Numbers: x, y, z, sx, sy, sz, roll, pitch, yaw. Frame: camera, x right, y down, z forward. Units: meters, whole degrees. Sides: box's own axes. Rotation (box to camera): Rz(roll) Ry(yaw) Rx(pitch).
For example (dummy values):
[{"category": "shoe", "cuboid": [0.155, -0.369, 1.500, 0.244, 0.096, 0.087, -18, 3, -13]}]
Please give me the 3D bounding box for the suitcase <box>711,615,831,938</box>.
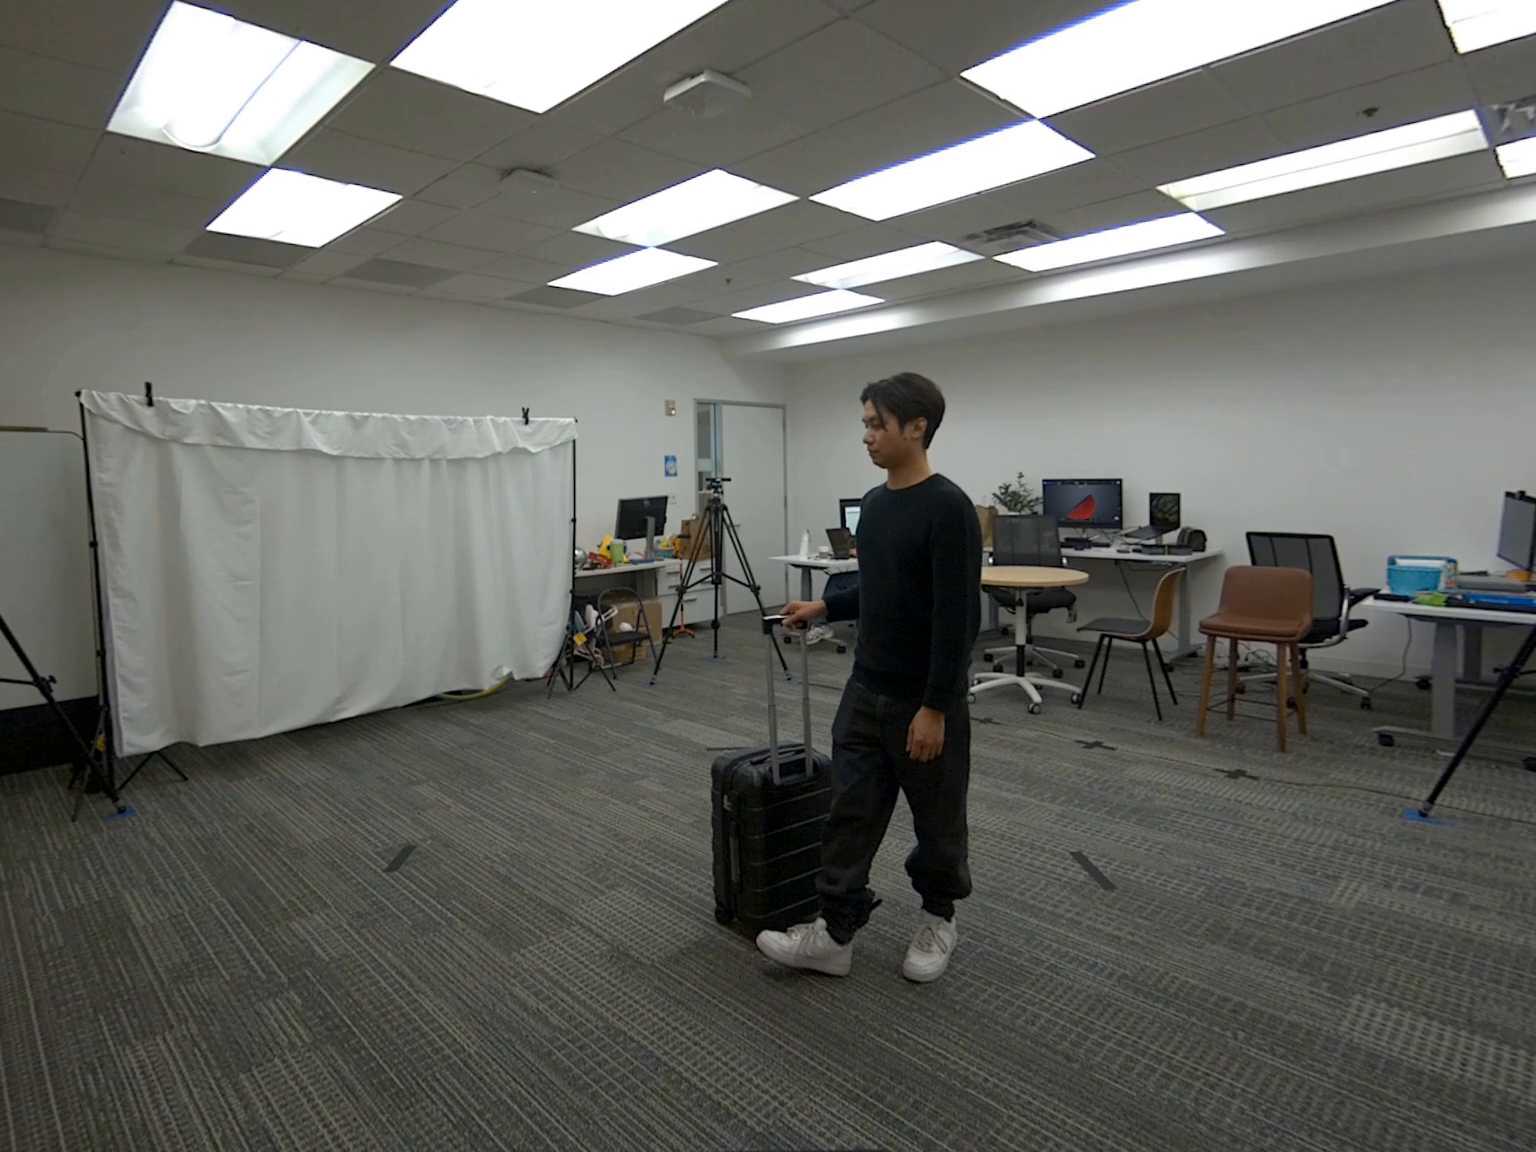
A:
[{"category": "suitcase", "cuboid": [0.007, 0.613, 2.691, 0.375, 0.977, 0.263, -5, 2, -31]}]
